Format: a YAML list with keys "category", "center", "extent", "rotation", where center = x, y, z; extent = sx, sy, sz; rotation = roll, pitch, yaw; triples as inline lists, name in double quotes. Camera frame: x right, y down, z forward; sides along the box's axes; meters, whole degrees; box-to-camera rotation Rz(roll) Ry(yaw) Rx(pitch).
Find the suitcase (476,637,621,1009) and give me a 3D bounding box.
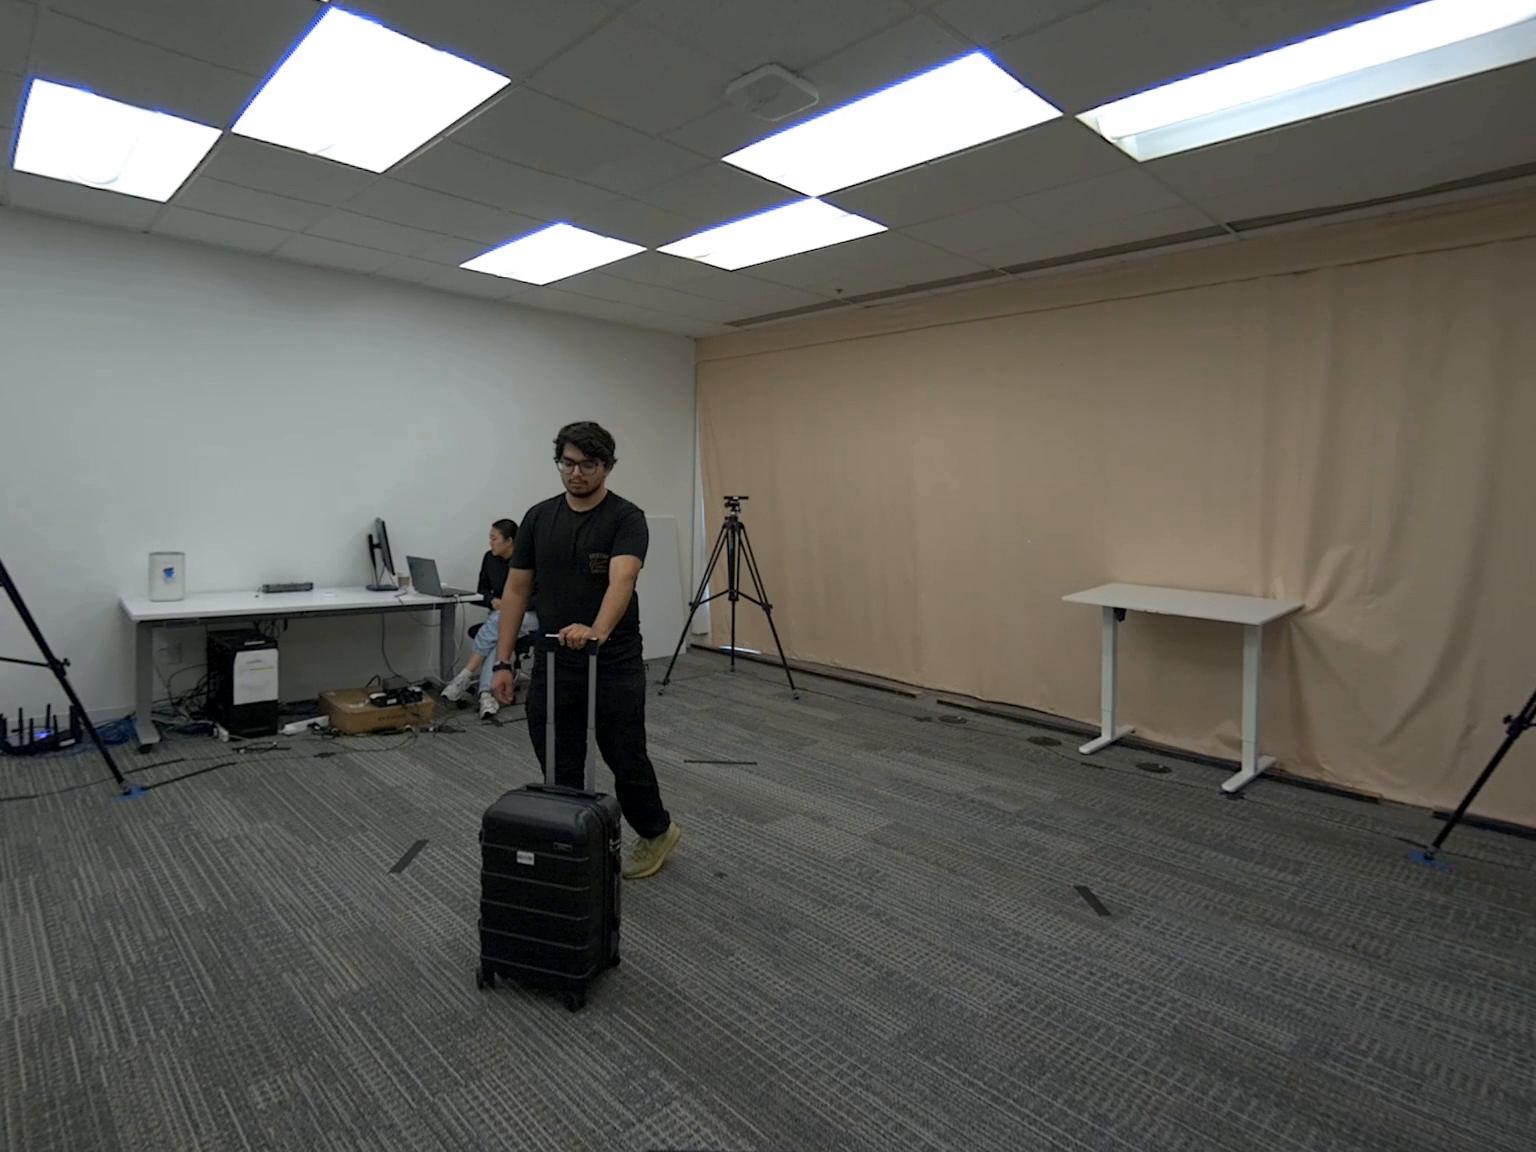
- category: "suitcase"
  center: [-0.614, 0.688, 2.367]
  extent: [0.389, 0.974, 0.255]
  rotation: [3, 7, 16]
